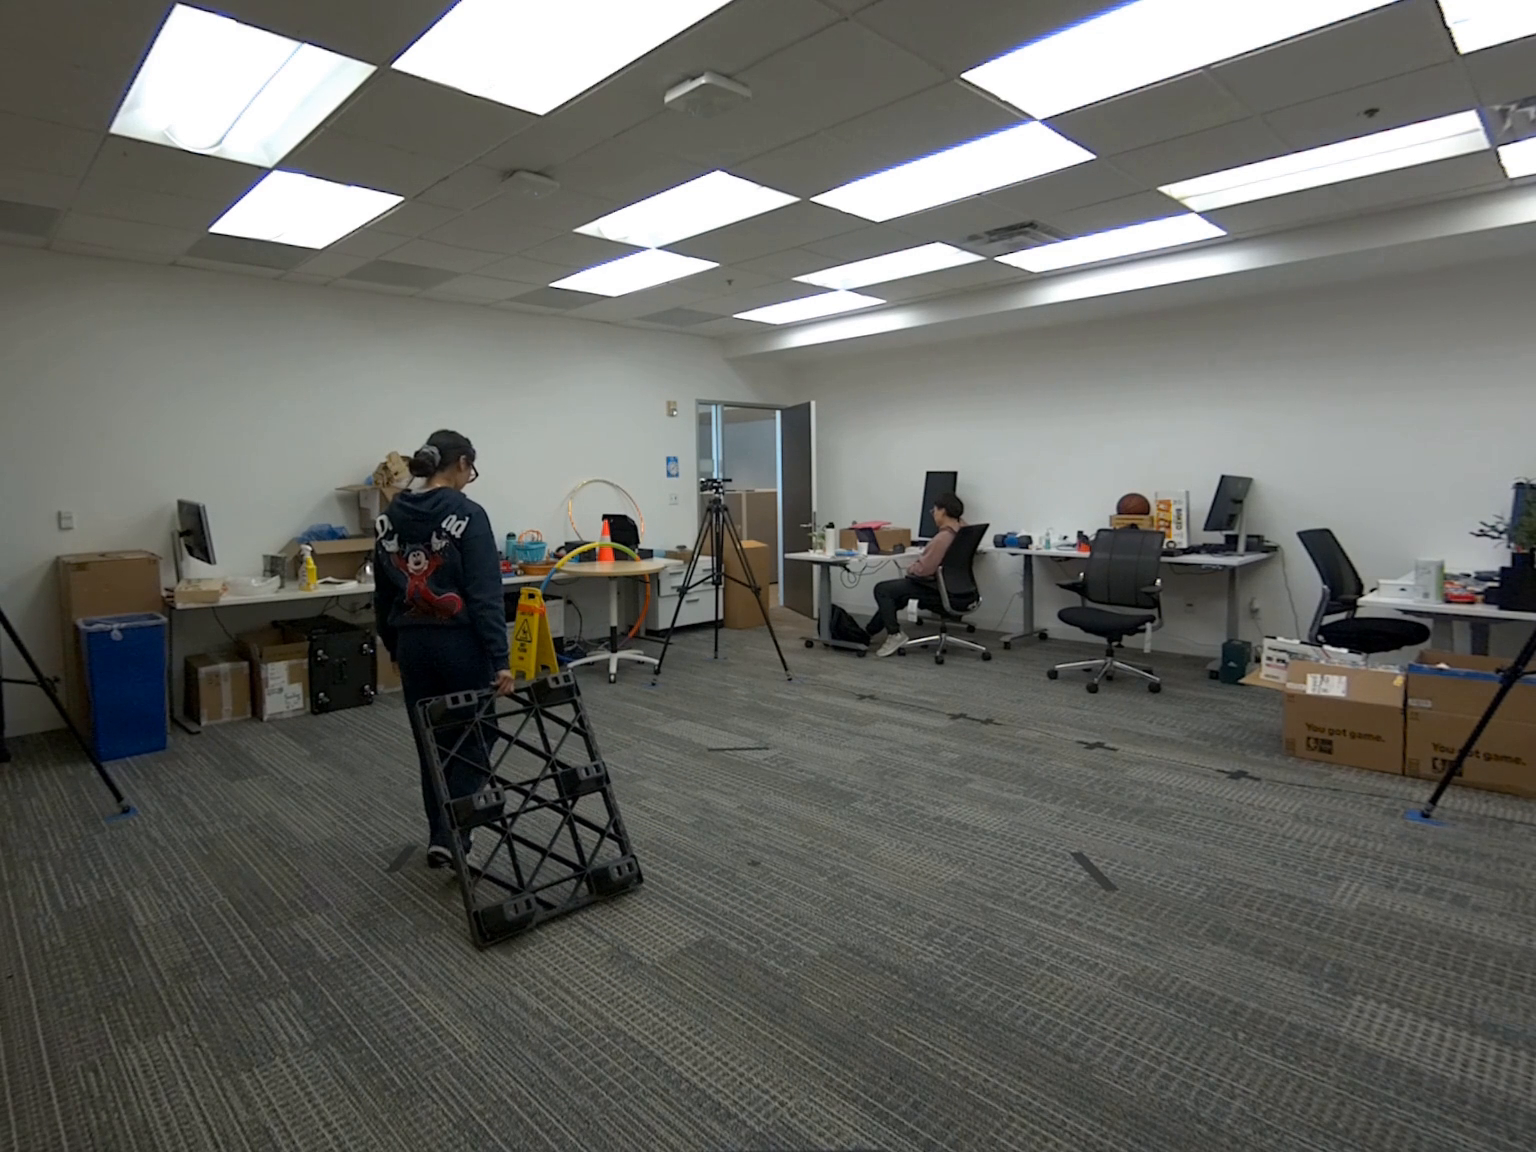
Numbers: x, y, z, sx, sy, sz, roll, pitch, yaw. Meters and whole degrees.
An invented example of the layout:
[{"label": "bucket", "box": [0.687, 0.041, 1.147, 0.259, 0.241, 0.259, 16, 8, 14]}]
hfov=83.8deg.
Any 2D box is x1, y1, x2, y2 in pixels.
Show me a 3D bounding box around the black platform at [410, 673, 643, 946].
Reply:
[{"label": "black platform", "box": [-0.774, 0.720, 2.858, 0.590, 0.826, 0.143, -6, -28, -40]}]
